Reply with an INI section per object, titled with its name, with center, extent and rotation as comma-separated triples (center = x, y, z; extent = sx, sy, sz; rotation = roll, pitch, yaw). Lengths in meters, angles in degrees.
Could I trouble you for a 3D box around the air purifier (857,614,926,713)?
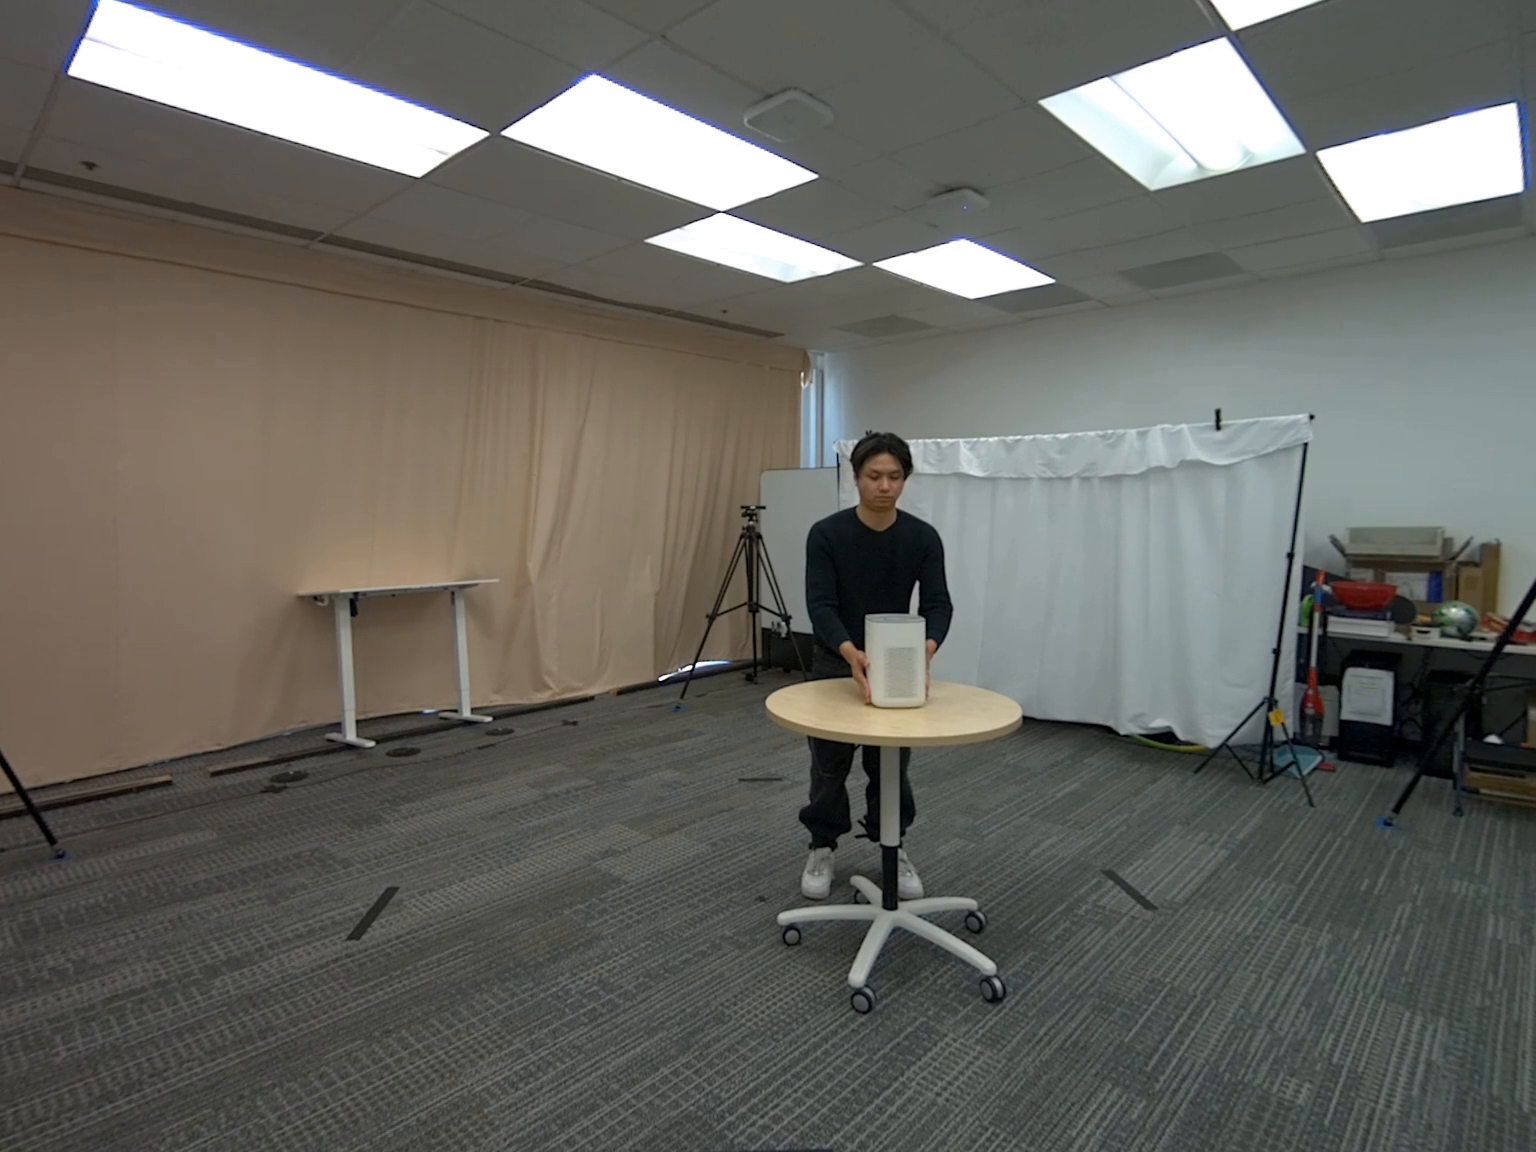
[air purifier]
center = 0.369, 0.257, 2.564
extent = 0.172, 0.265, 0.171
rotation = 0, 4, 0
